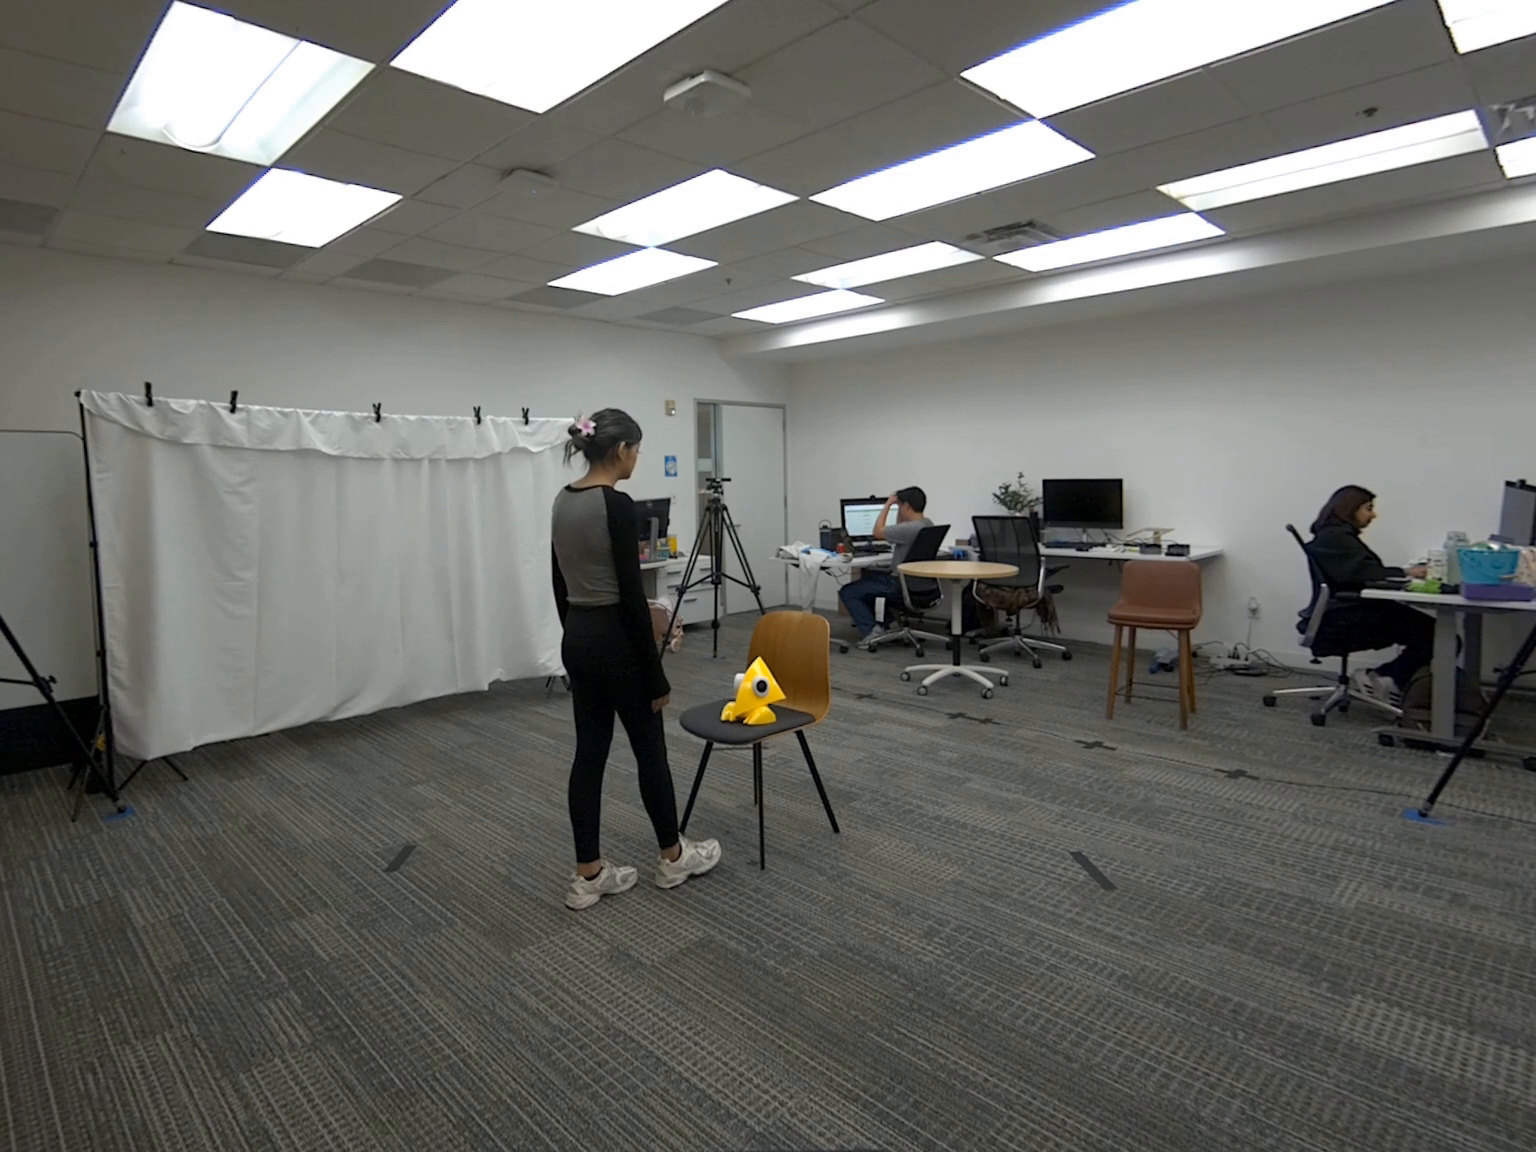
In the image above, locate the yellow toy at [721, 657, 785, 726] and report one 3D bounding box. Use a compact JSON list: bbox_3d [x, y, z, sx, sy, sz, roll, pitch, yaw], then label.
[{"bbox_3d":[-0.068,0.430,3.247,0.211,0.231,0.187,1,0,38],"label":"yellow toy"}]
